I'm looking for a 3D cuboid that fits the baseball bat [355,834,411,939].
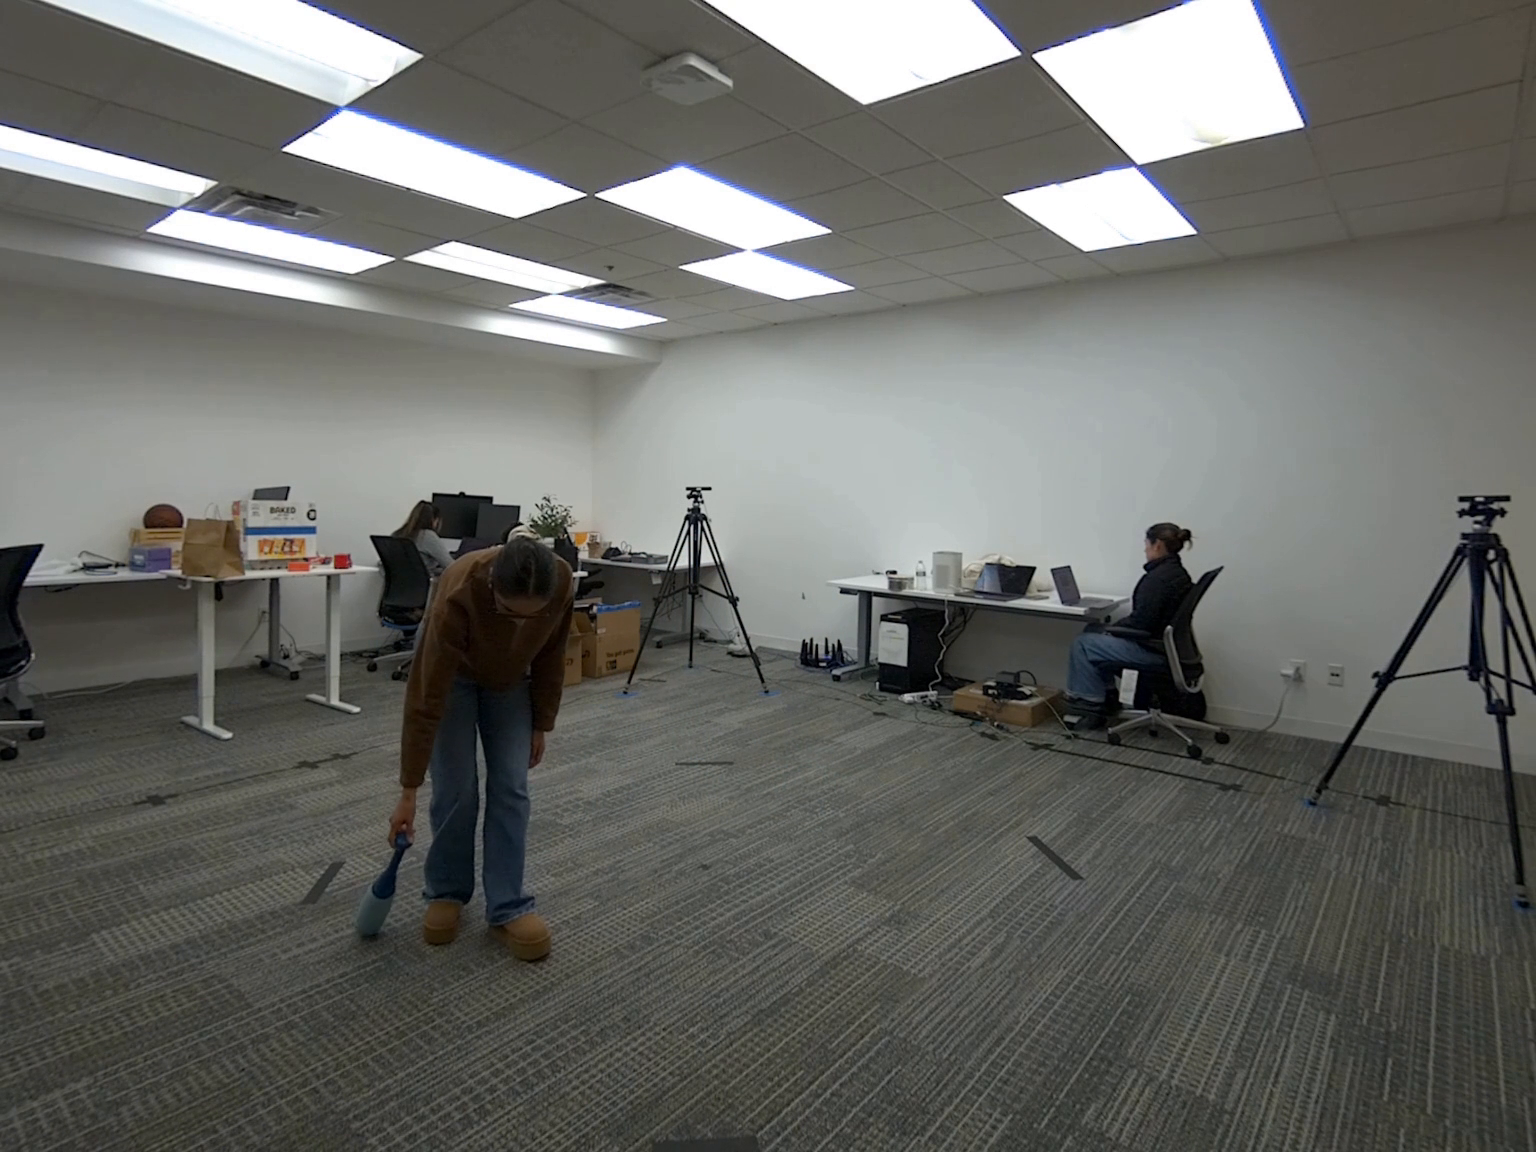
[{"bbox_3d":[-1.133,0.907,2.476,0.087,0.539,0.092,19,39,-18],"label":"baseball bat"}]
